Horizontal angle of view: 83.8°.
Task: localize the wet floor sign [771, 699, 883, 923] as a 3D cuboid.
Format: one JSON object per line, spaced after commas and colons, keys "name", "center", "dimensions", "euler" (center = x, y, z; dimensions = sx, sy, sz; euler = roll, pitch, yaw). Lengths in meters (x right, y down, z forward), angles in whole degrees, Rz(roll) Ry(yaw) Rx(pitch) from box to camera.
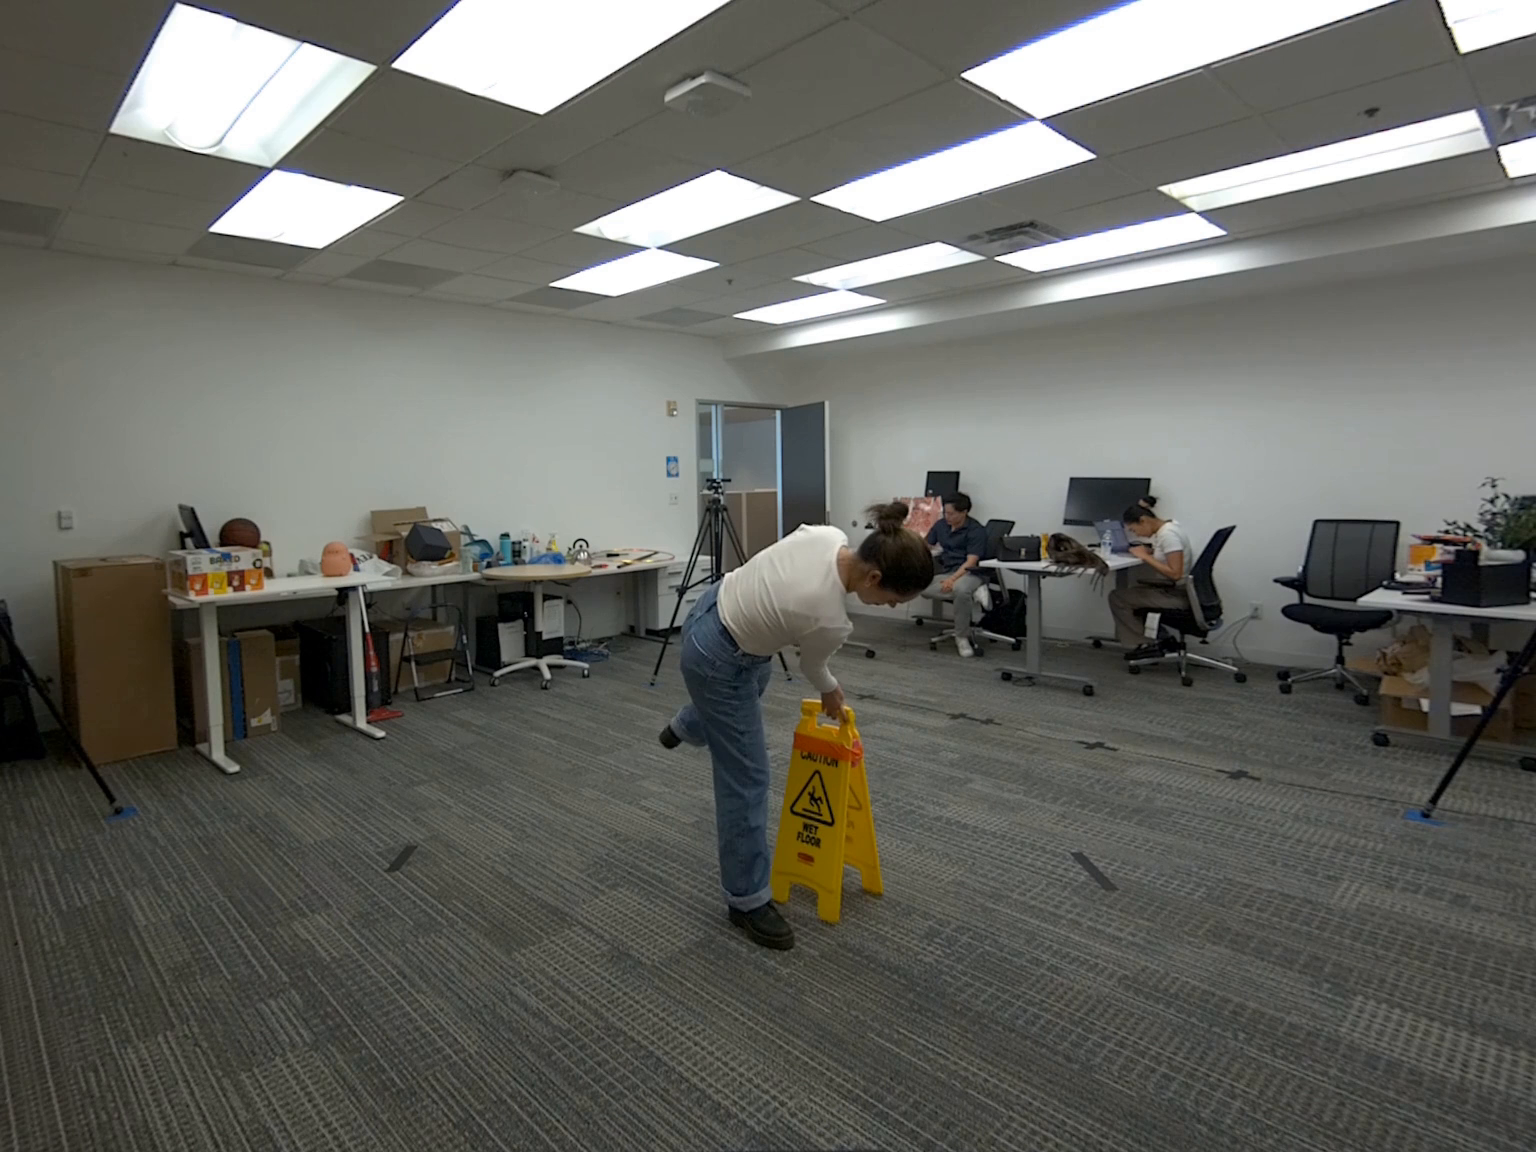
{"name": "wet floor sign", "center": [0.198, 0.743, 2.839], "dimensions": [0.291, 0.645, 0.282], "euler": [2, 3, 41]}
